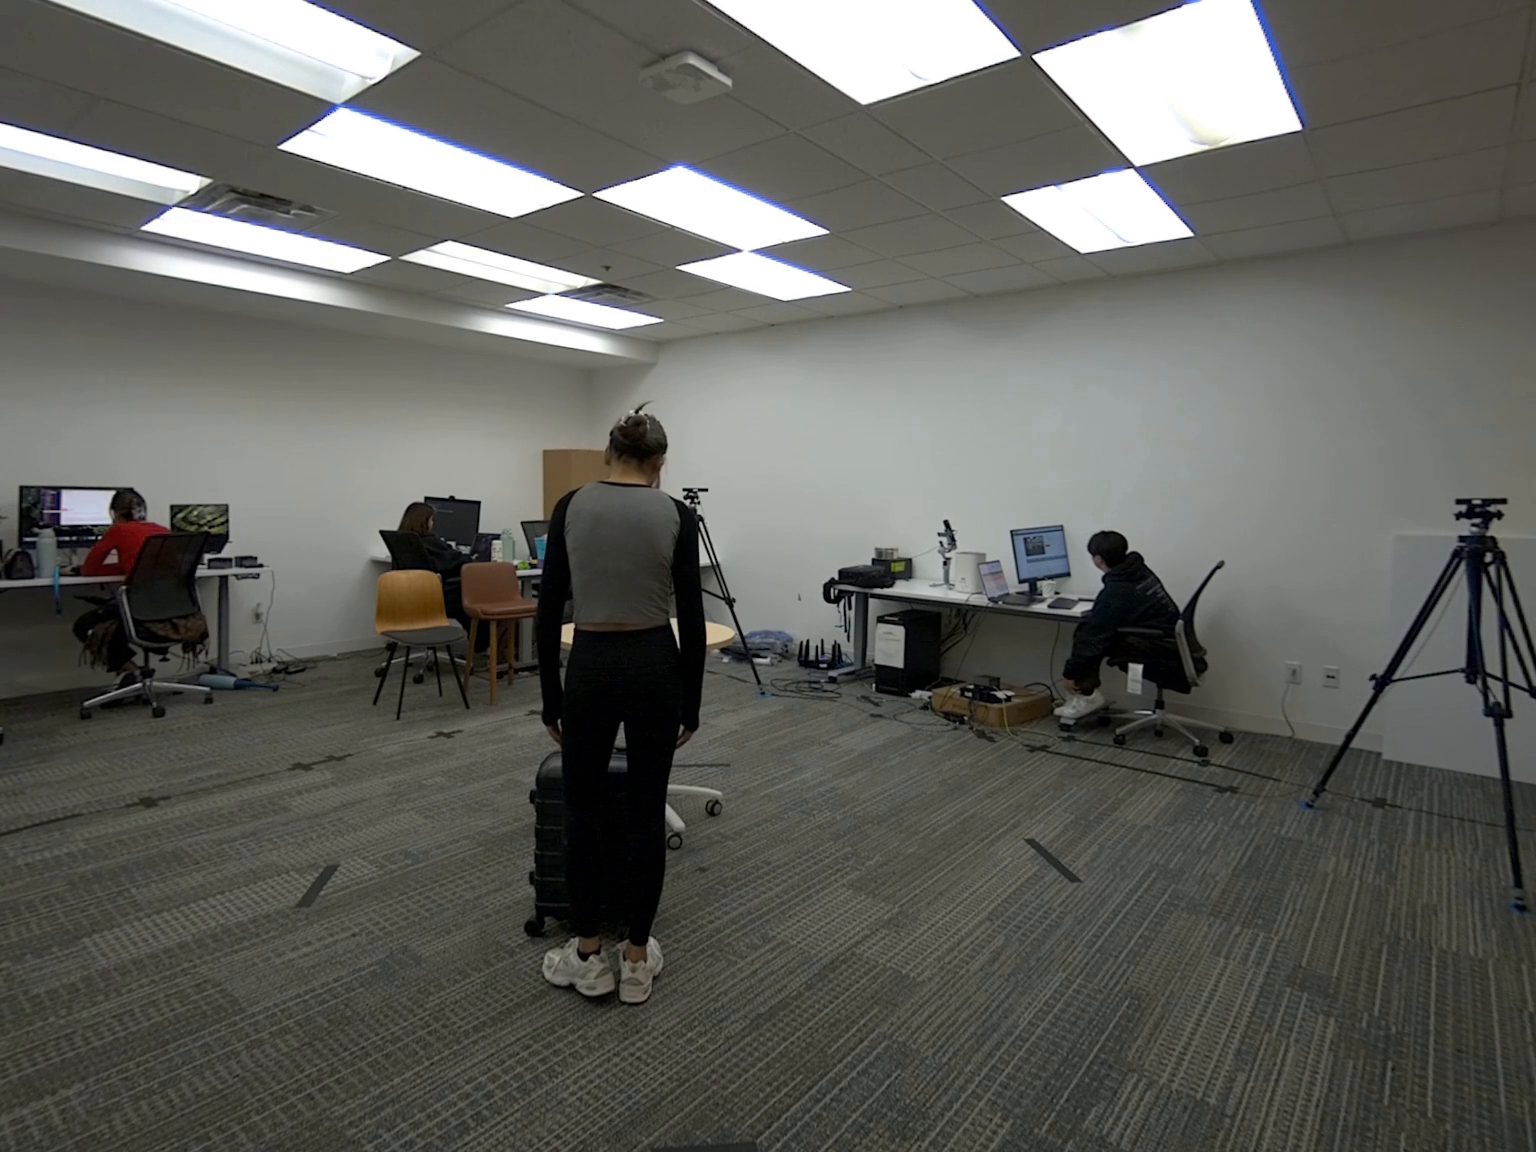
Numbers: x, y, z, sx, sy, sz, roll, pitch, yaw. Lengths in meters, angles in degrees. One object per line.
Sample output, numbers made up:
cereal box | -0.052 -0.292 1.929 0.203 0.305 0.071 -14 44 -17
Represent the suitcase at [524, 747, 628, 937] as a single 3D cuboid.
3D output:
suitcase | -0.569 0.832 2.702 0.377 0.548 0.248 2 3 2
